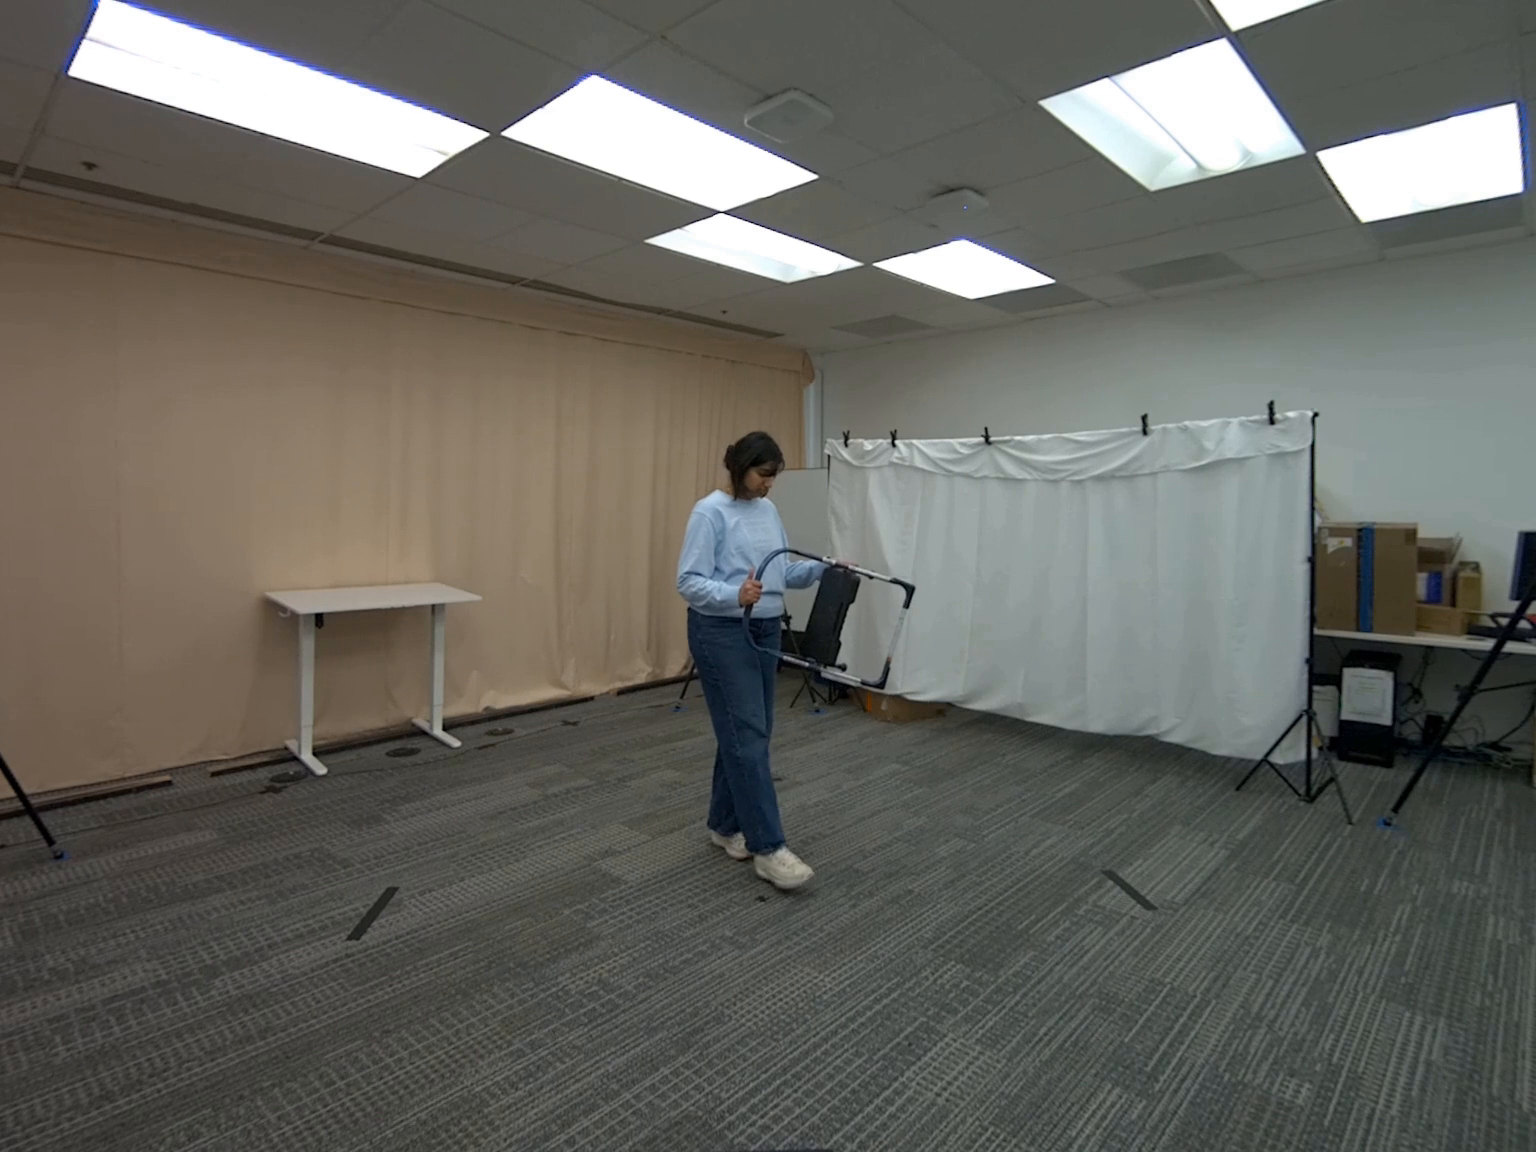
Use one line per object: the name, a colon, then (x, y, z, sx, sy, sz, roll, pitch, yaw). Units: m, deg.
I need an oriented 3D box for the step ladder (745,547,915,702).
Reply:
step ladder: (0.174, 0.132, 3.205, 0.590, 0.430, 0.359, 16, 1, -24)
